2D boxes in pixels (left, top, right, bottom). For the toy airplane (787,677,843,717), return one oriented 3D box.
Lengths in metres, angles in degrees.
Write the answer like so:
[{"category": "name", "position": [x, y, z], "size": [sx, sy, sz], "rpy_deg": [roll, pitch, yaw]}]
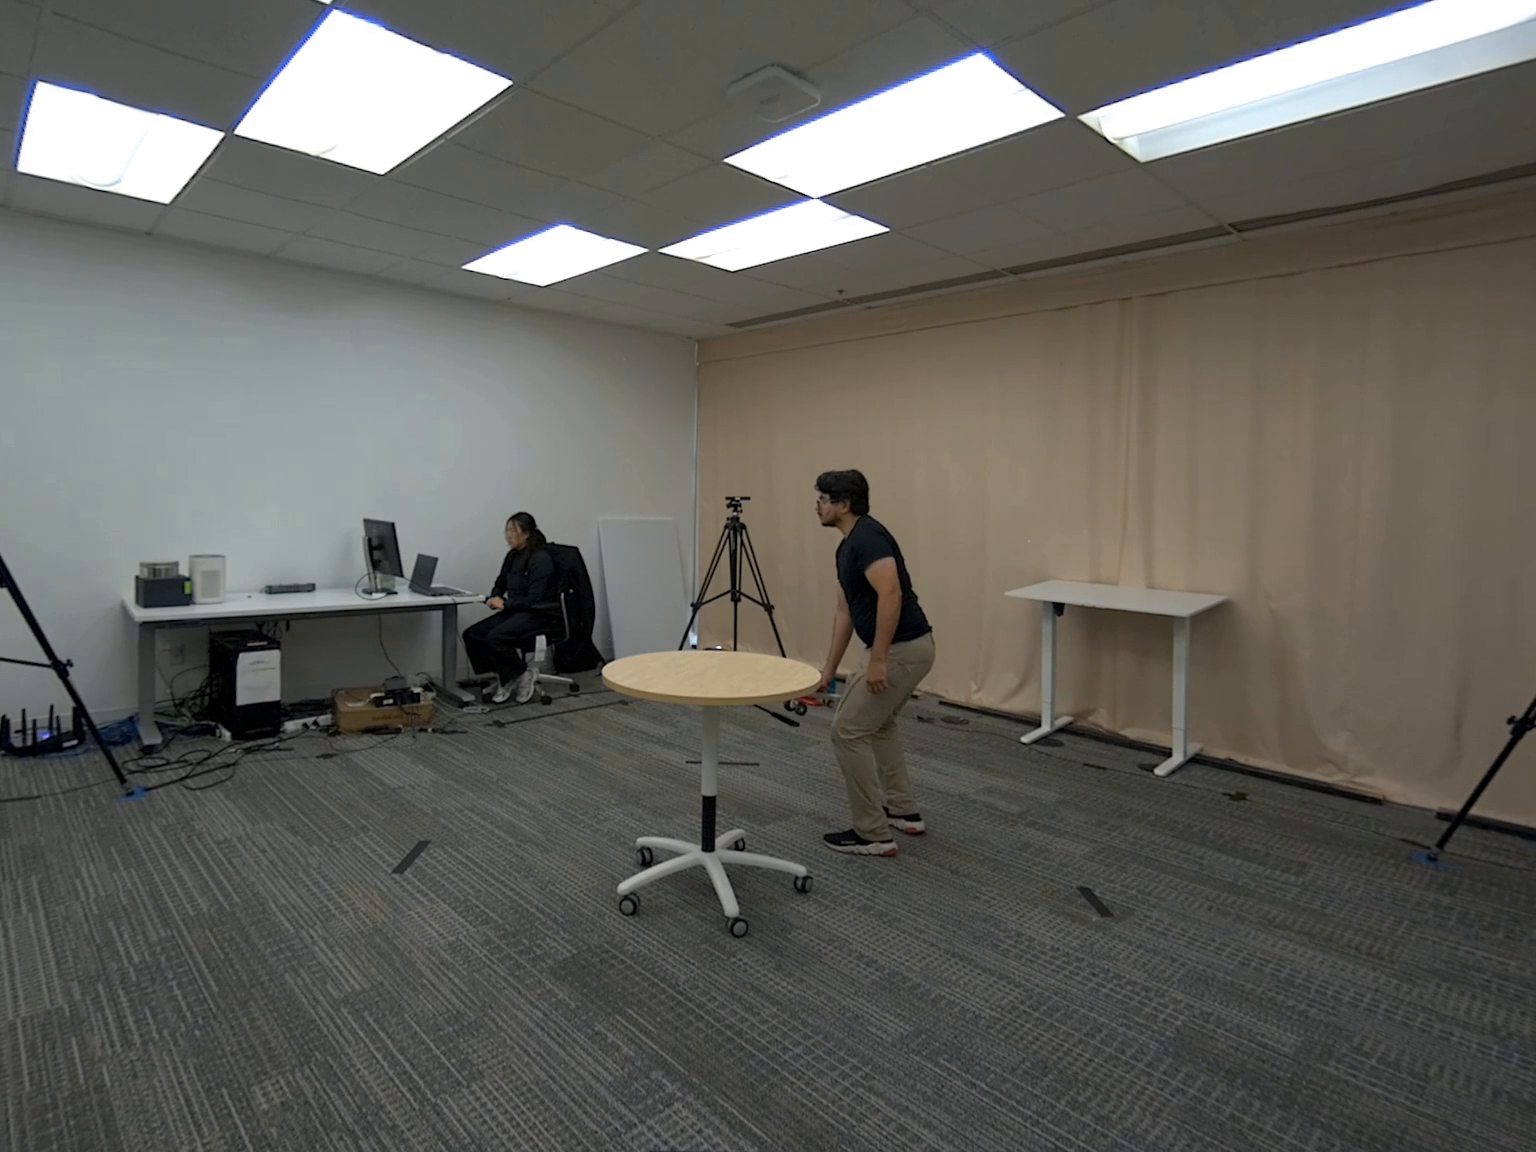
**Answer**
[{"category": "toy airplane", "position": [0.181, 0.517, 3.697], "size": [0.257, 0.156, 0.254], "rpy_deg": [0, 7, 36]}]
